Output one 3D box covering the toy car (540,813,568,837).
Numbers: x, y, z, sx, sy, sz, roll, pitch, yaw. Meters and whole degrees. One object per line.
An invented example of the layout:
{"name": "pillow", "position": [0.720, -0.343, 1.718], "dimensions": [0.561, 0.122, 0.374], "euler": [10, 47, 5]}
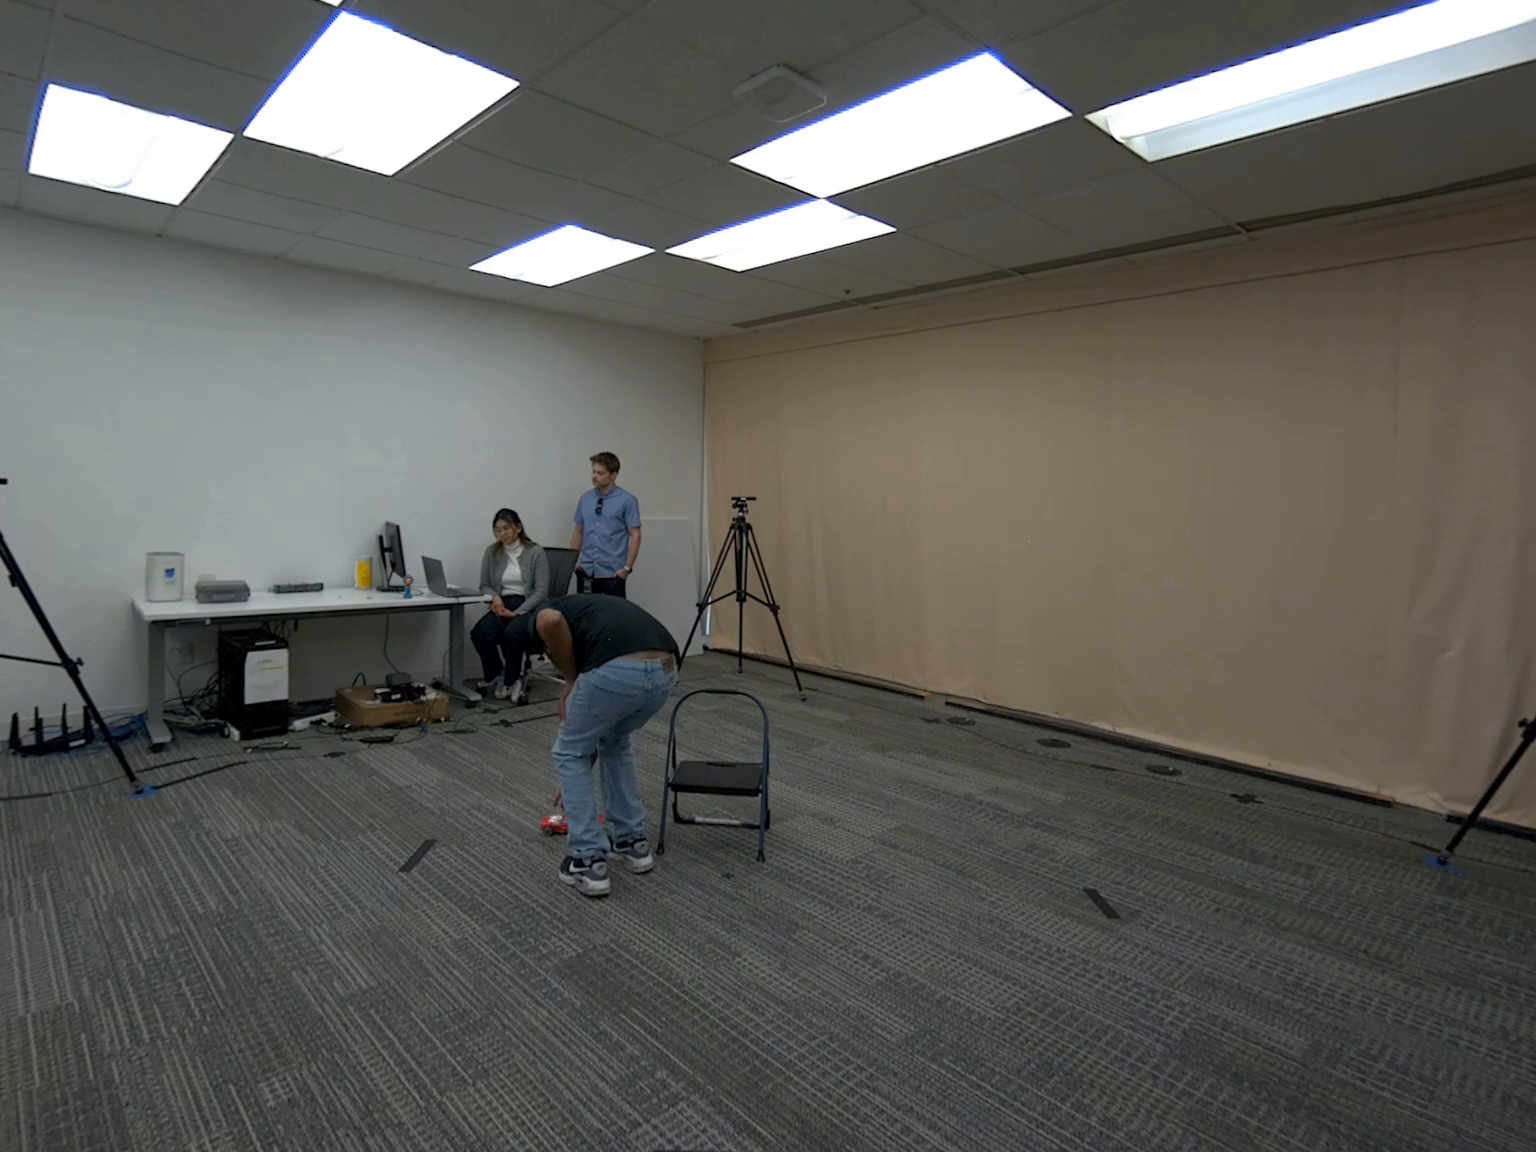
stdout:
{"name": "toy car", "position": [-0.811, 1.021, 3.488], "dimensions": [0.255, 0.083, 0.130], "euler": [-9, 5, 2]}
